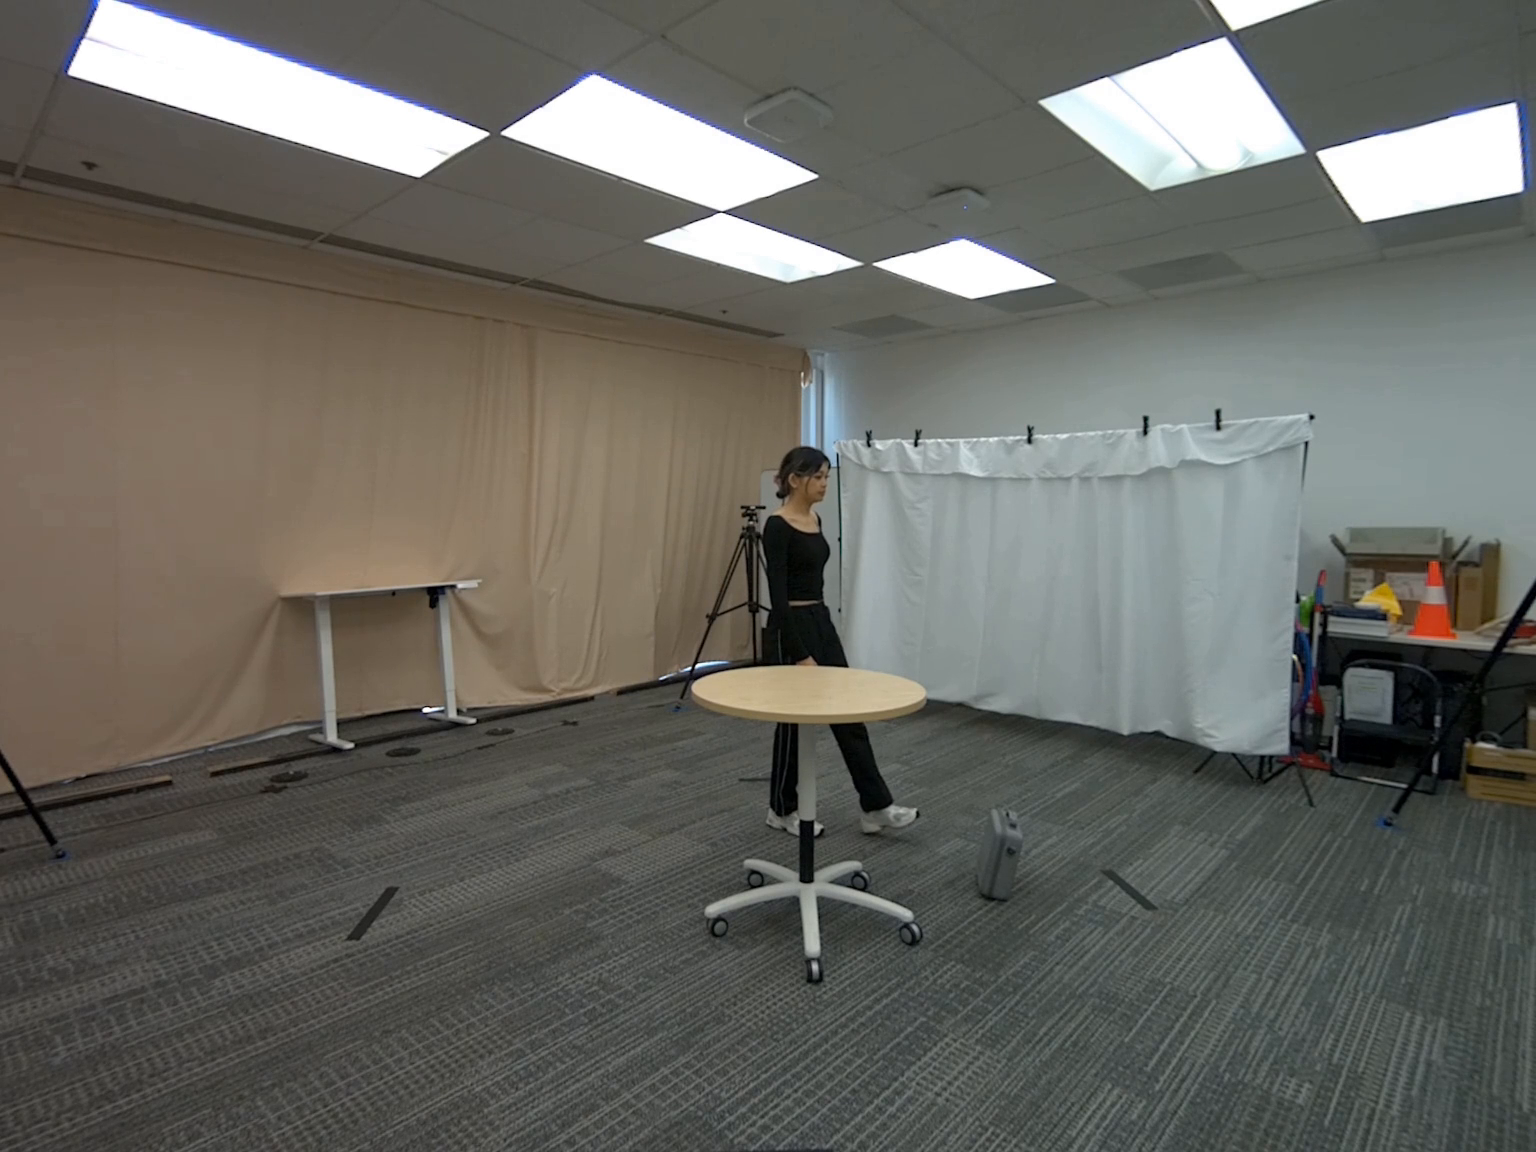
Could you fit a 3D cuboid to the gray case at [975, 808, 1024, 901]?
[{"bbox_3d":[0.843,1.004,3.062,0.106,0.260,0.254,11,7,9],"label":"gray case"}]
